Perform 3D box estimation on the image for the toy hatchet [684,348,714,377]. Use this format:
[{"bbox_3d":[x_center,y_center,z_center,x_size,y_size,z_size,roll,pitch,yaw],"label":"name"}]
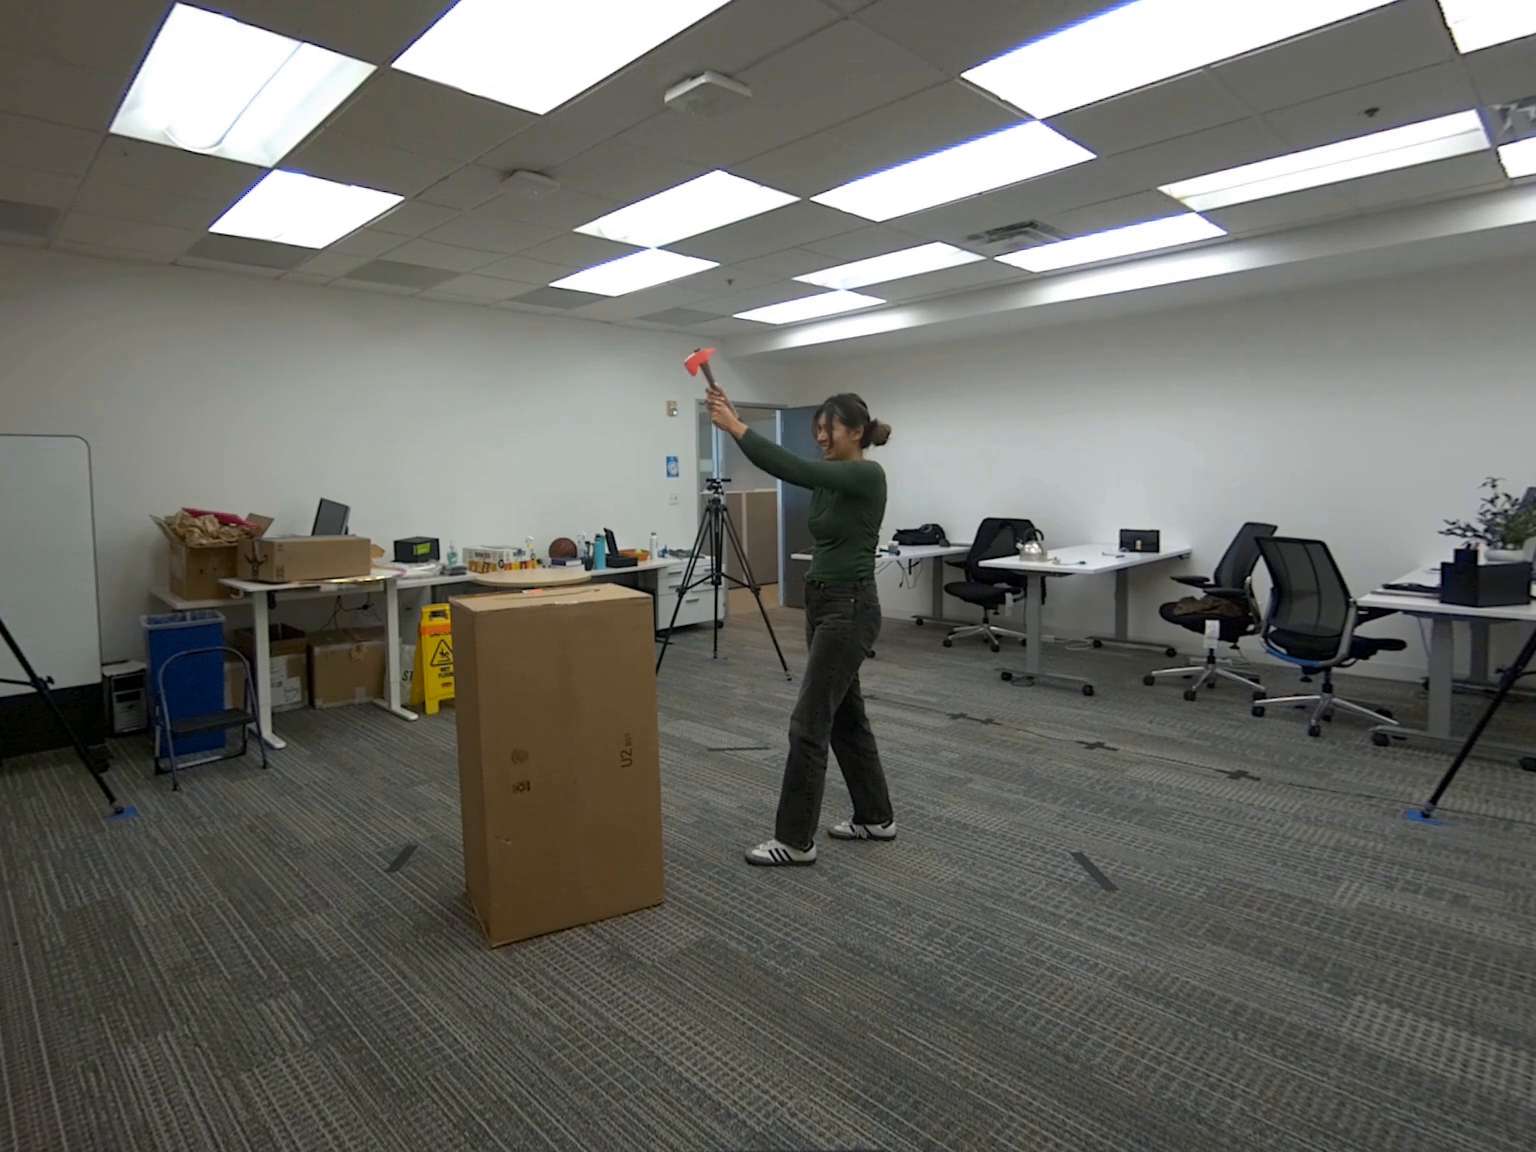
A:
[{"bbox_3d":[-0.212,-0.647,2.944,0.128,0.268,0.030,-13,7,-32],"label":"toy hatchet"}]
